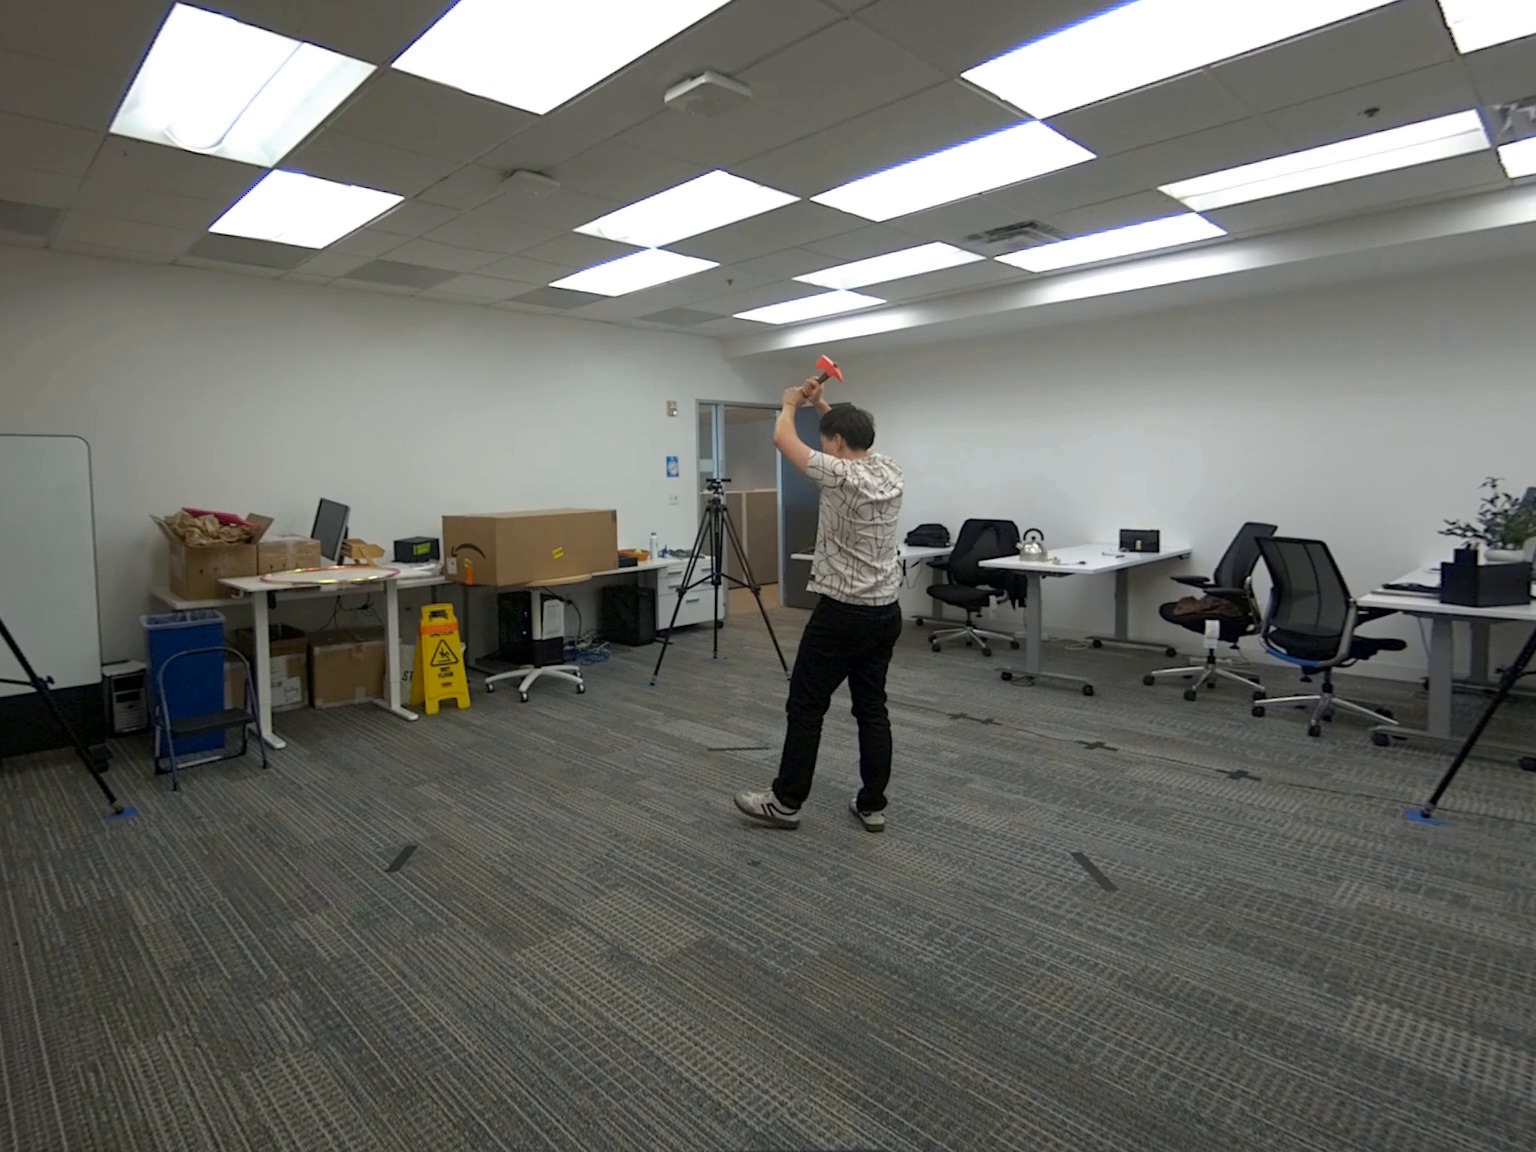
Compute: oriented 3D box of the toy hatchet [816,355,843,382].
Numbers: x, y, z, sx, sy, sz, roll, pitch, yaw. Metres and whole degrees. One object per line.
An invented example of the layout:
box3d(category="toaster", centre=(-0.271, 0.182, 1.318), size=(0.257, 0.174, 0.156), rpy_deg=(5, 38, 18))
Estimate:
box3d(category="toy hatchet", centre=(0.164, -0.819, 3.514), size=(0.276, 0.130, 0.029), rpy_deg=(-13, 12, 37))
